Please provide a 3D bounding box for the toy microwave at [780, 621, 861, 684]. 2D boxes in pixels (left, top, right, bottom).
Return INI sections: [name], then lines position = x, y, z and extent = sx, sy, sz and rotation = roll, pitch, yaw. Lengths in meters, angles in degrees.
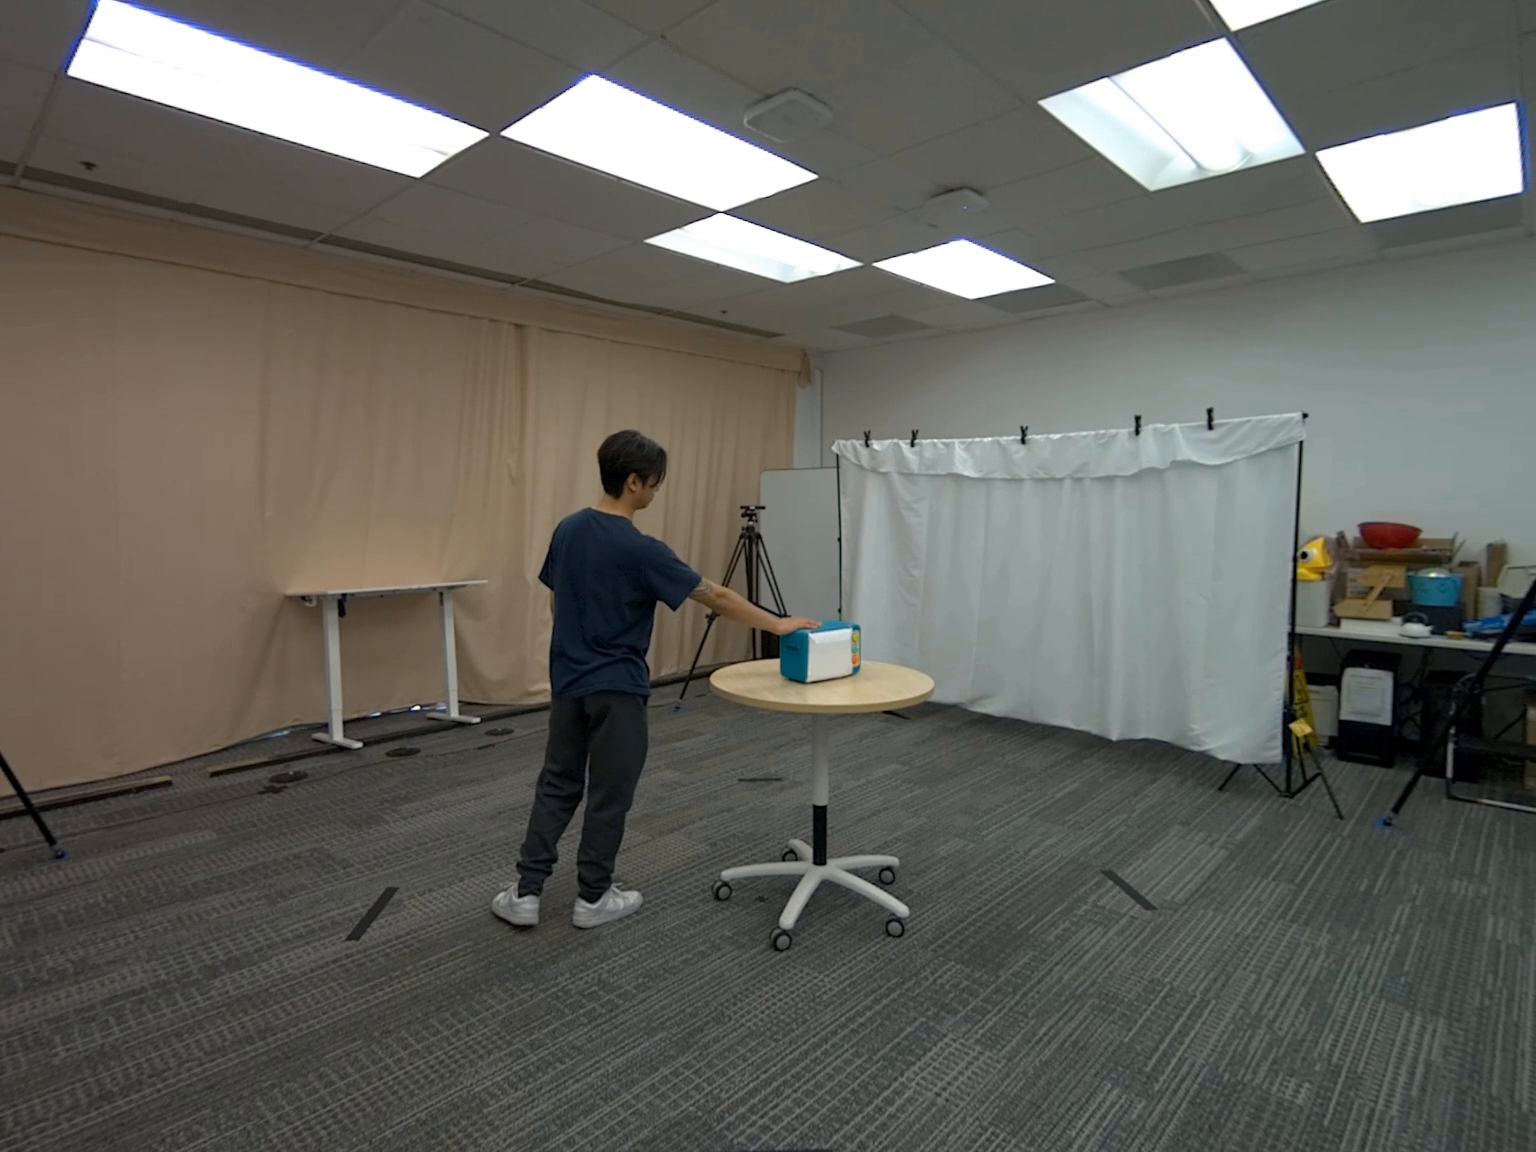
[toy microwave]
position = 0.198, 0.263, 2.918
extent = 0.278, 0.183, 0.157
rotation = -4, 6, -38
